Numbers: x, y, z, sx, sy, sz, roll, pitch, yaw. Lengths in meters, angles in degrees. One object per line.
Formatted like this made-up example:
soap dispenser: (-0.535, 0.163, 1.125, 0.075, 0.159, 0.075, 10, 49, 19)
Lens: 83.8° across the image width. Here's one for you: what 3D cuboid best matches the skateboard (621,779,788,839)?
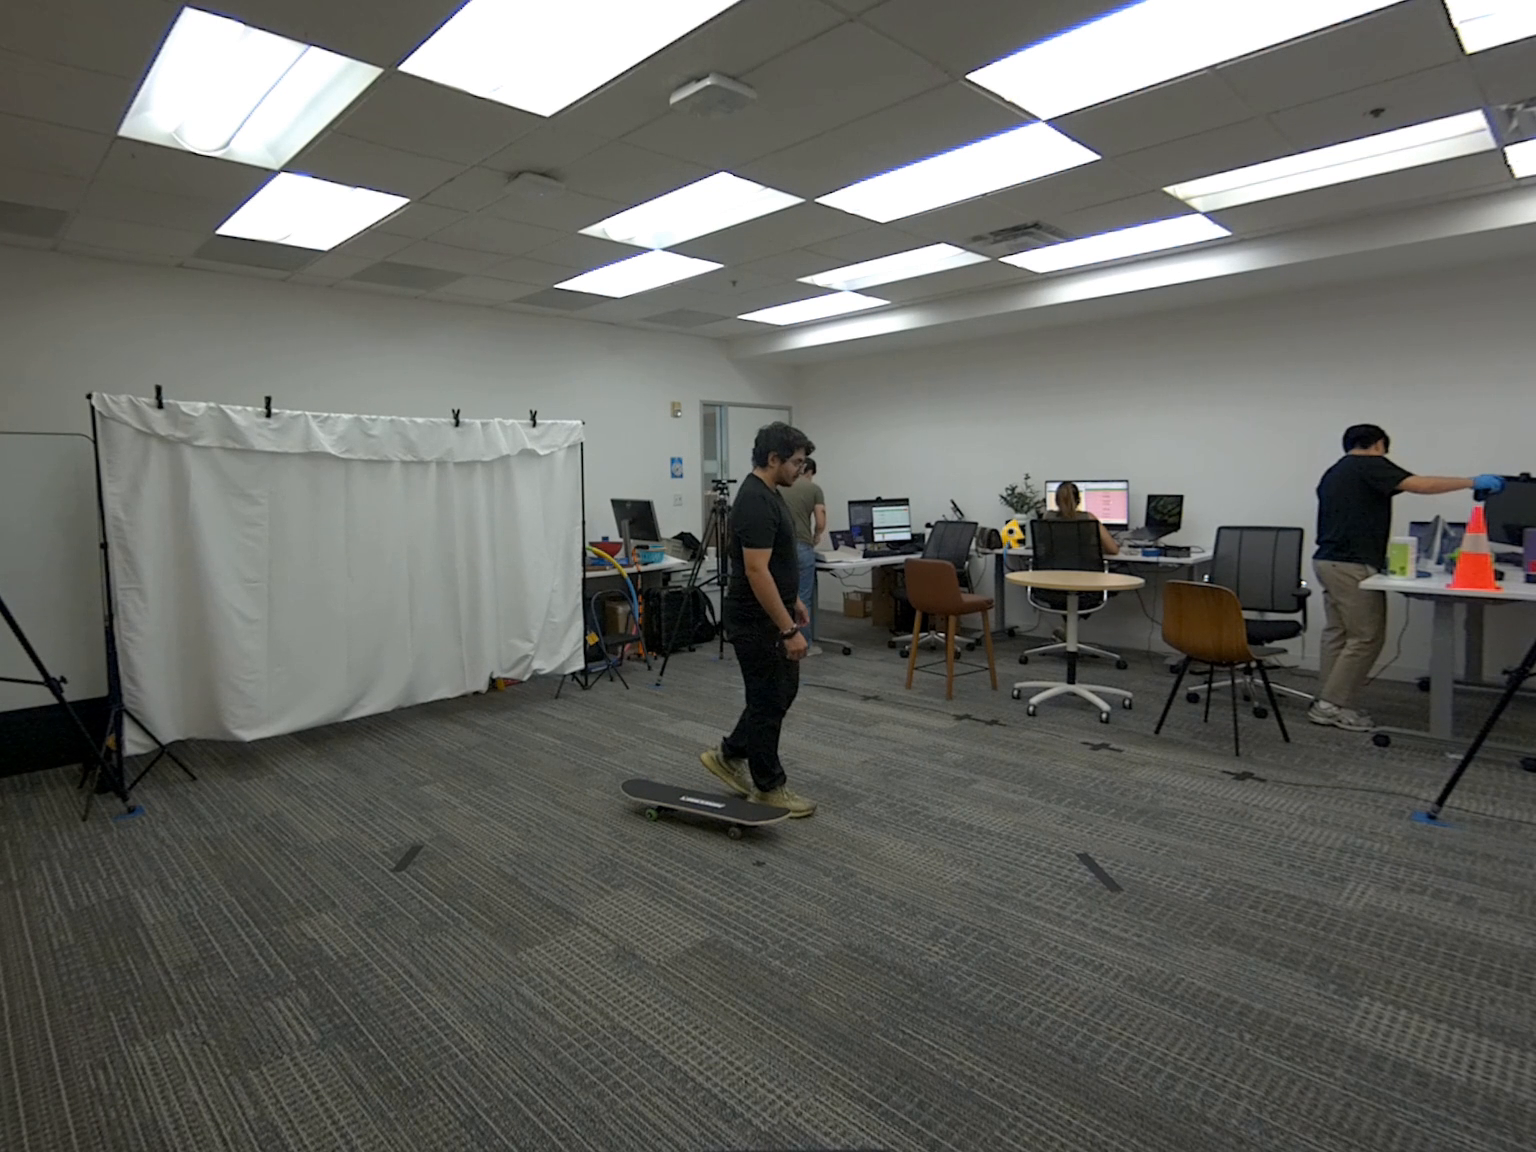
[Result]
skateboard: (-0.264, 0.954, 3.492, 0.806, 0.110, 0.189, 3, 6, 30)
